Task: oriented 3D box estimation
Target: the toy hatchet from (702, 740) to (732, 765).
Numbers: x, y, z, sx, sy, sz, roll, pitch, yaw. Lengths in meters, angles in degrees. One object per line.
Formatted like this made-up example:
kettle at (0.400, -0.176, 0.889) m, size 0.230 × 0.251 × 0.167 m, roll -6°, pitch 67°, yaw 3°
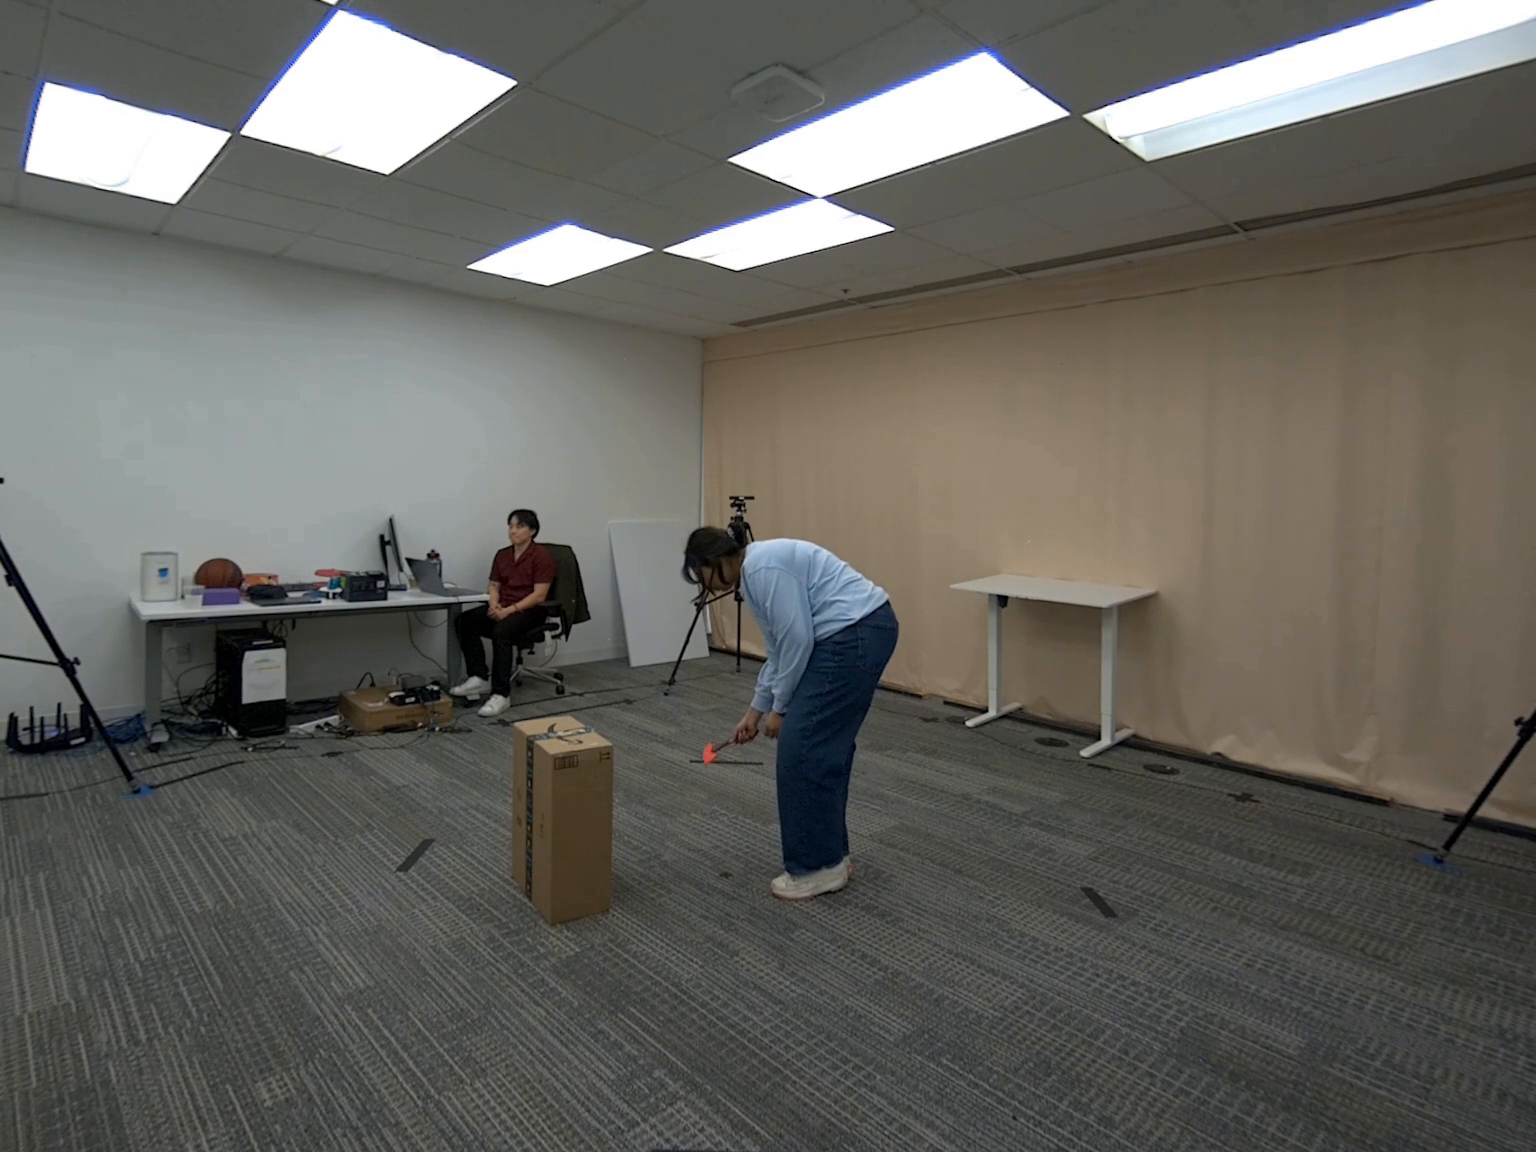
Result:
toy hatchet at (-0.155, 0.678, 3.291) m, size 0.274 × 0.029 × 0.131 m, roll -14°, pitch 26°, yaw 34°
